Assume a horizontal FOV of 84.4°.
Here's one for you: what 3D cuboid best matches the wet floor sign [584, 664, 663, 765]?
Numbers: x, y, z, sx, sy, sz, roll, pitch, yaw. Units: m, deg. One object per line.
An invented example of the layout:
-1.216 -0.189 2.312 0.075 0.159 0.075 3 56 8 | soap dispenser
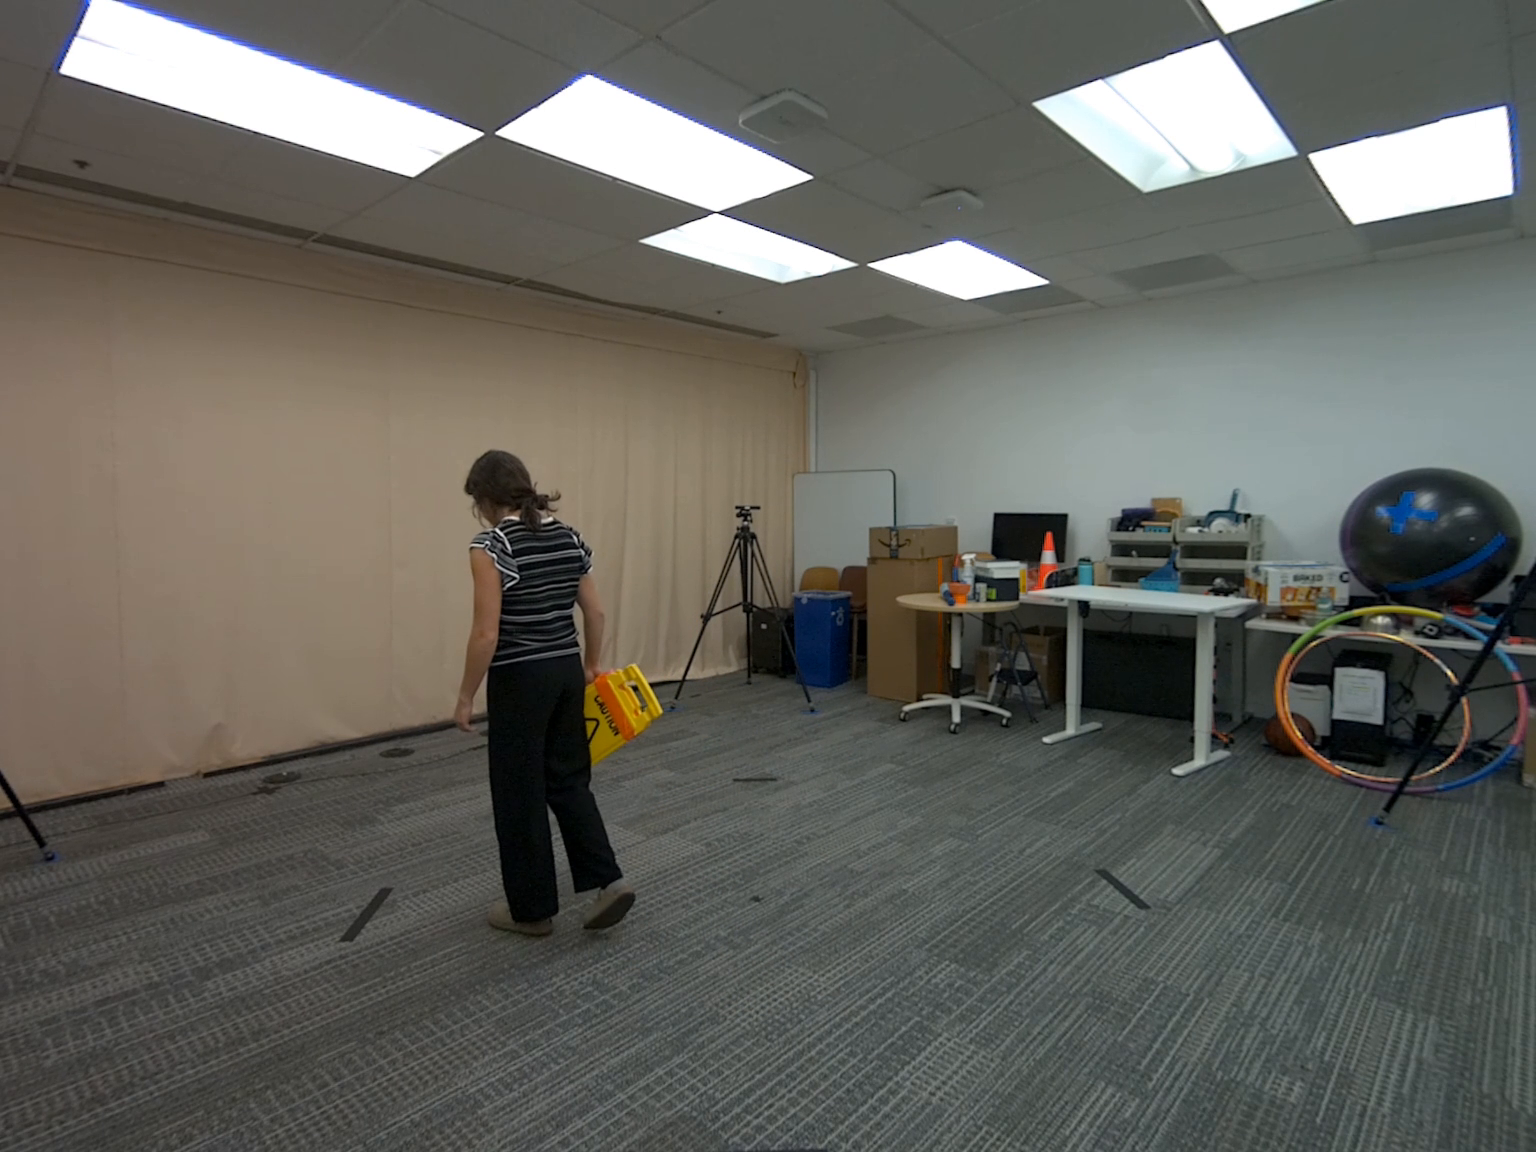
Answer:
-0.649 0.538 2.985 0.654 0.284 0.284 -33 -5 24 | wet floor sign
